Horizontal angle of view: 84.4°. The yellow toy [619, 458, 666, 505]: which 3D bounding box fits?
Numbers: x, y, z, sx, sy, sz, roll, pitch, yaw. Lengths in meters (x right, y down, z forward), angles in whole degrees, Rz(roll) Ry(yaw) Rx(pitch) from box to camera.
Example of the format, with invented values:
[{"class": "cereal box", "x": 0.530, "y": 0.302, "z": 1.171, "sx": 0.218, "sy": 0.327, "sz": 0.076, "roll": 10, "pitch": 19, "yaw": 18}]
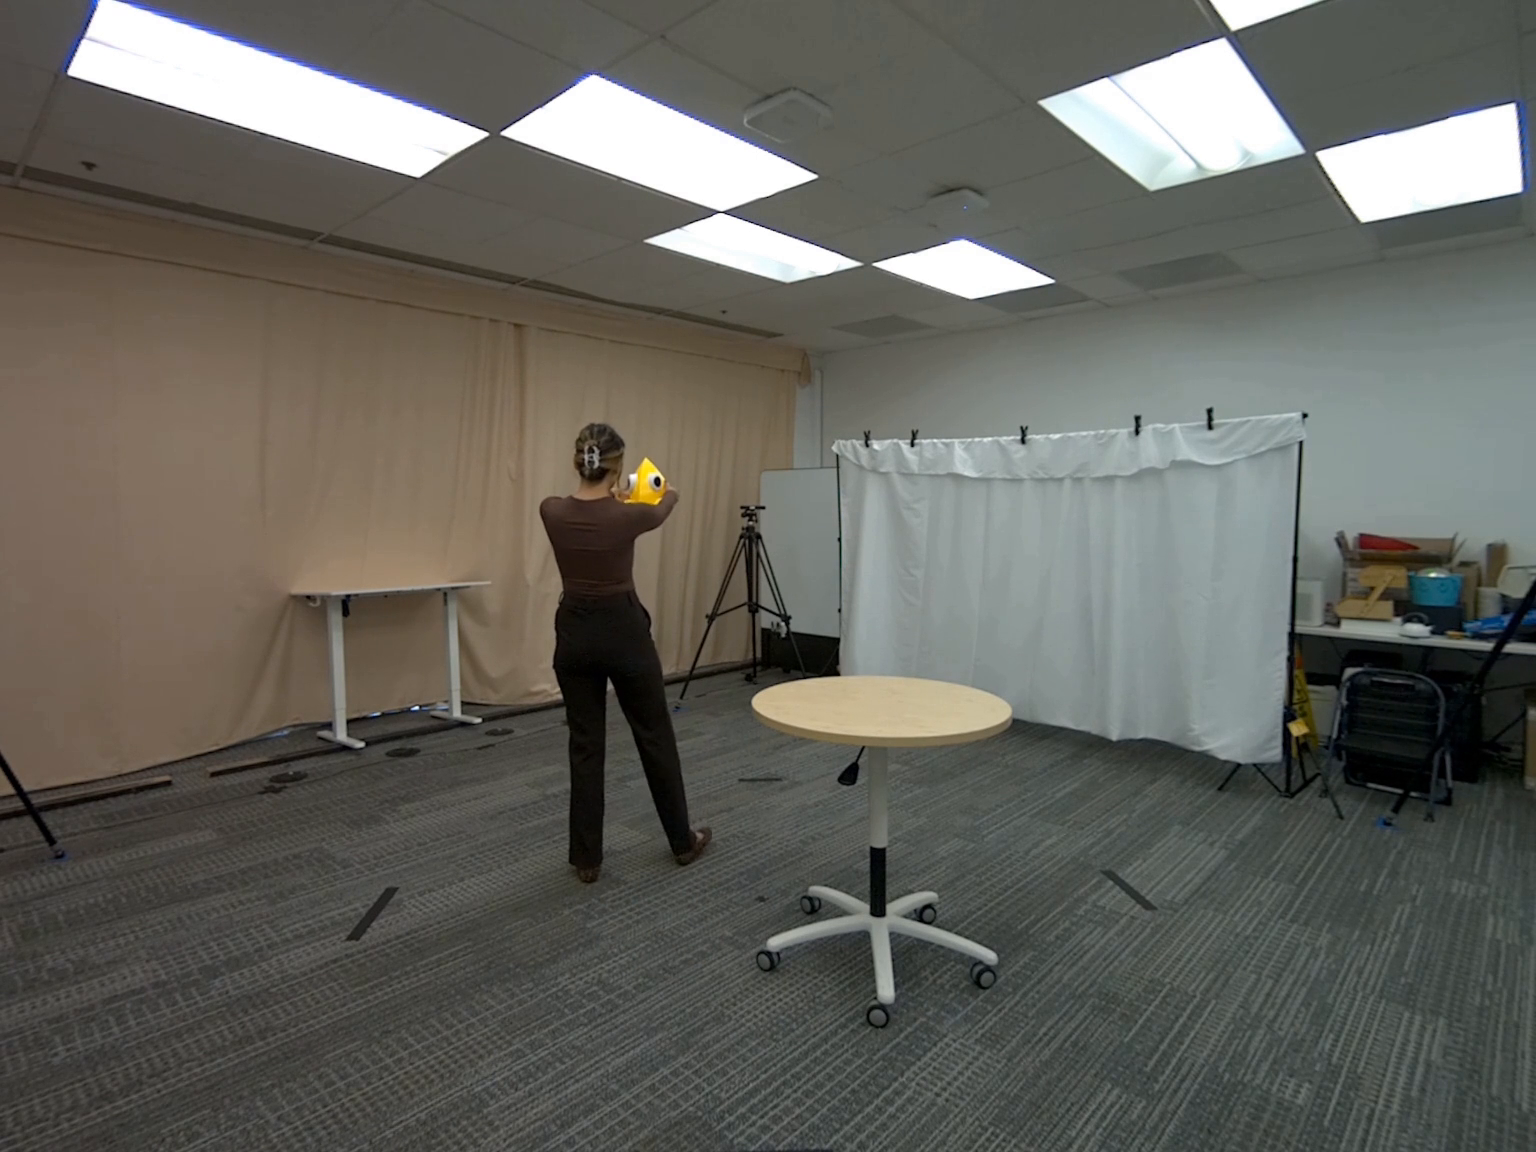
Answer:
[{"class": "yellow toy", "x": -0.536, "y": -0.396, "z": 3.668, "sx": 0.207, "sy": 0.229, "sz": 0.192, "roll": 0, "pitch": 12, "yaw": 10}]
